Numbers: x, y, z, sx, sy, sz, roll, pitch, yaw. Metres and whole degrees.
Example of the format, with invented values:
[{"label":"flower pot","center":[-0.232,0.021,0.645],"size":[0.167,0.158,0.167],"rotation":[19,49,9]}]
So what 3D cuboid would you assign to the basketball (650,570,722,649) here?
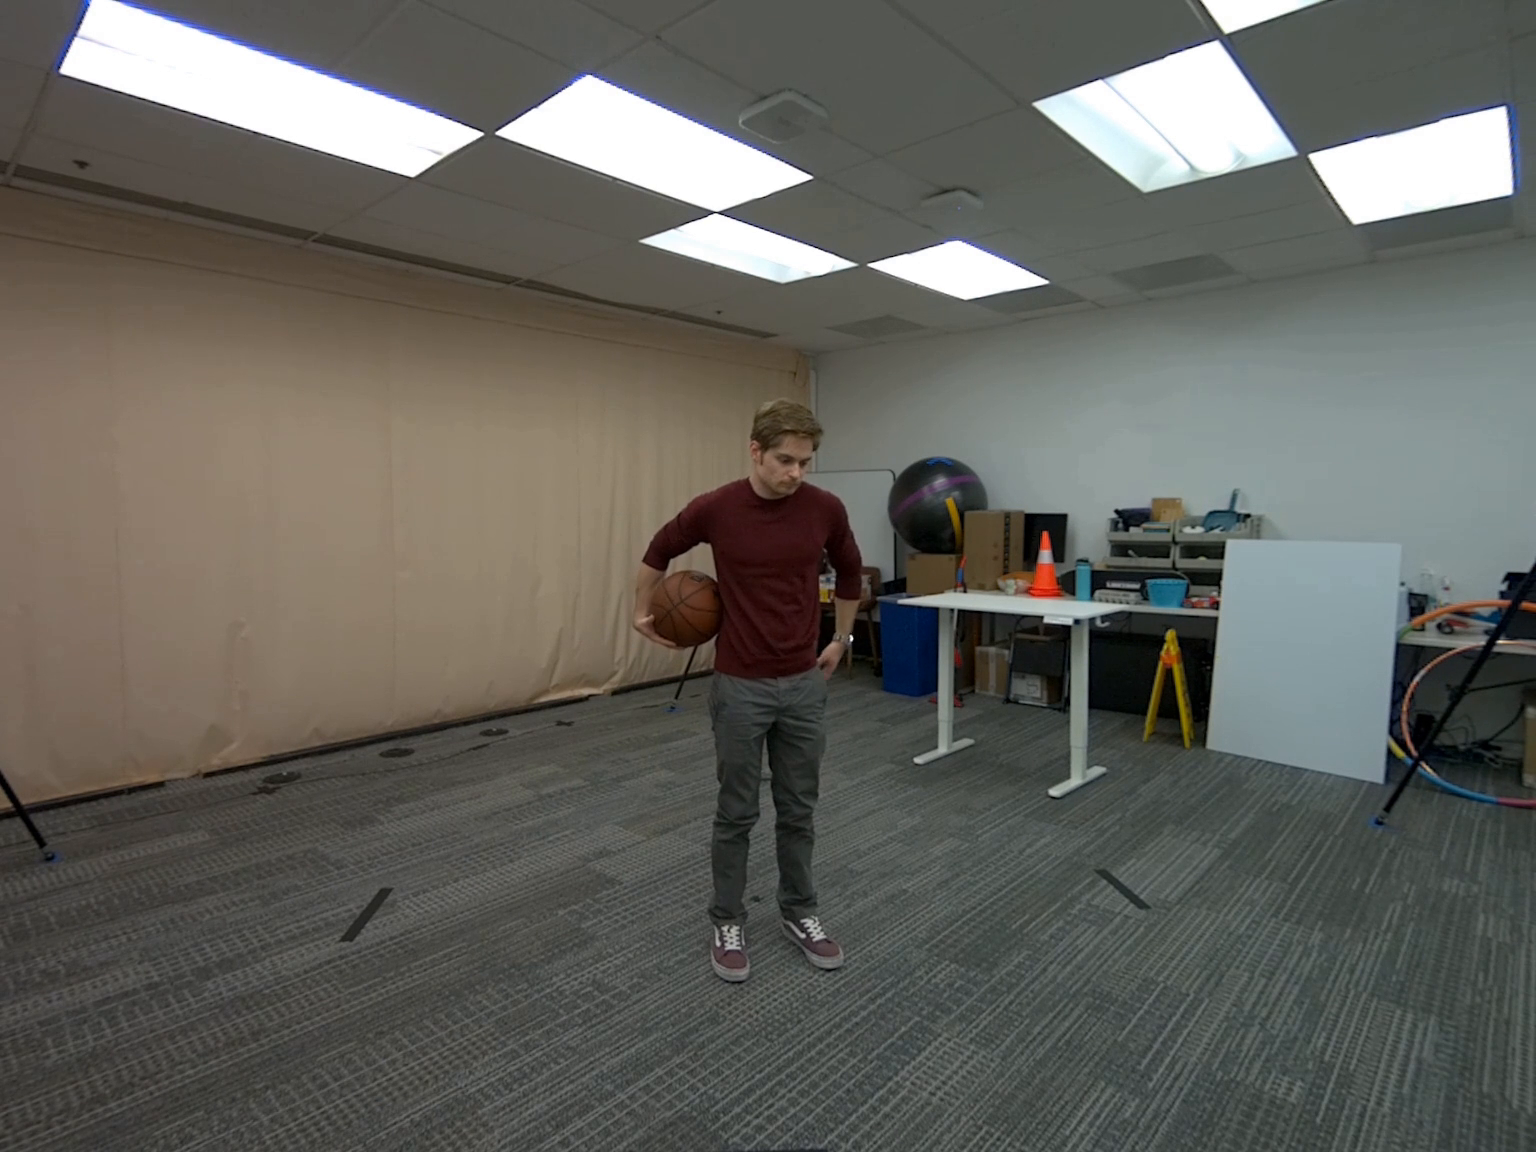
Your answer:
[{"label":"basketball","center":[-0.233,0.102,2.638],"size":[0.236,0.235,0.237],"rotation":[0,4,-2]}]
